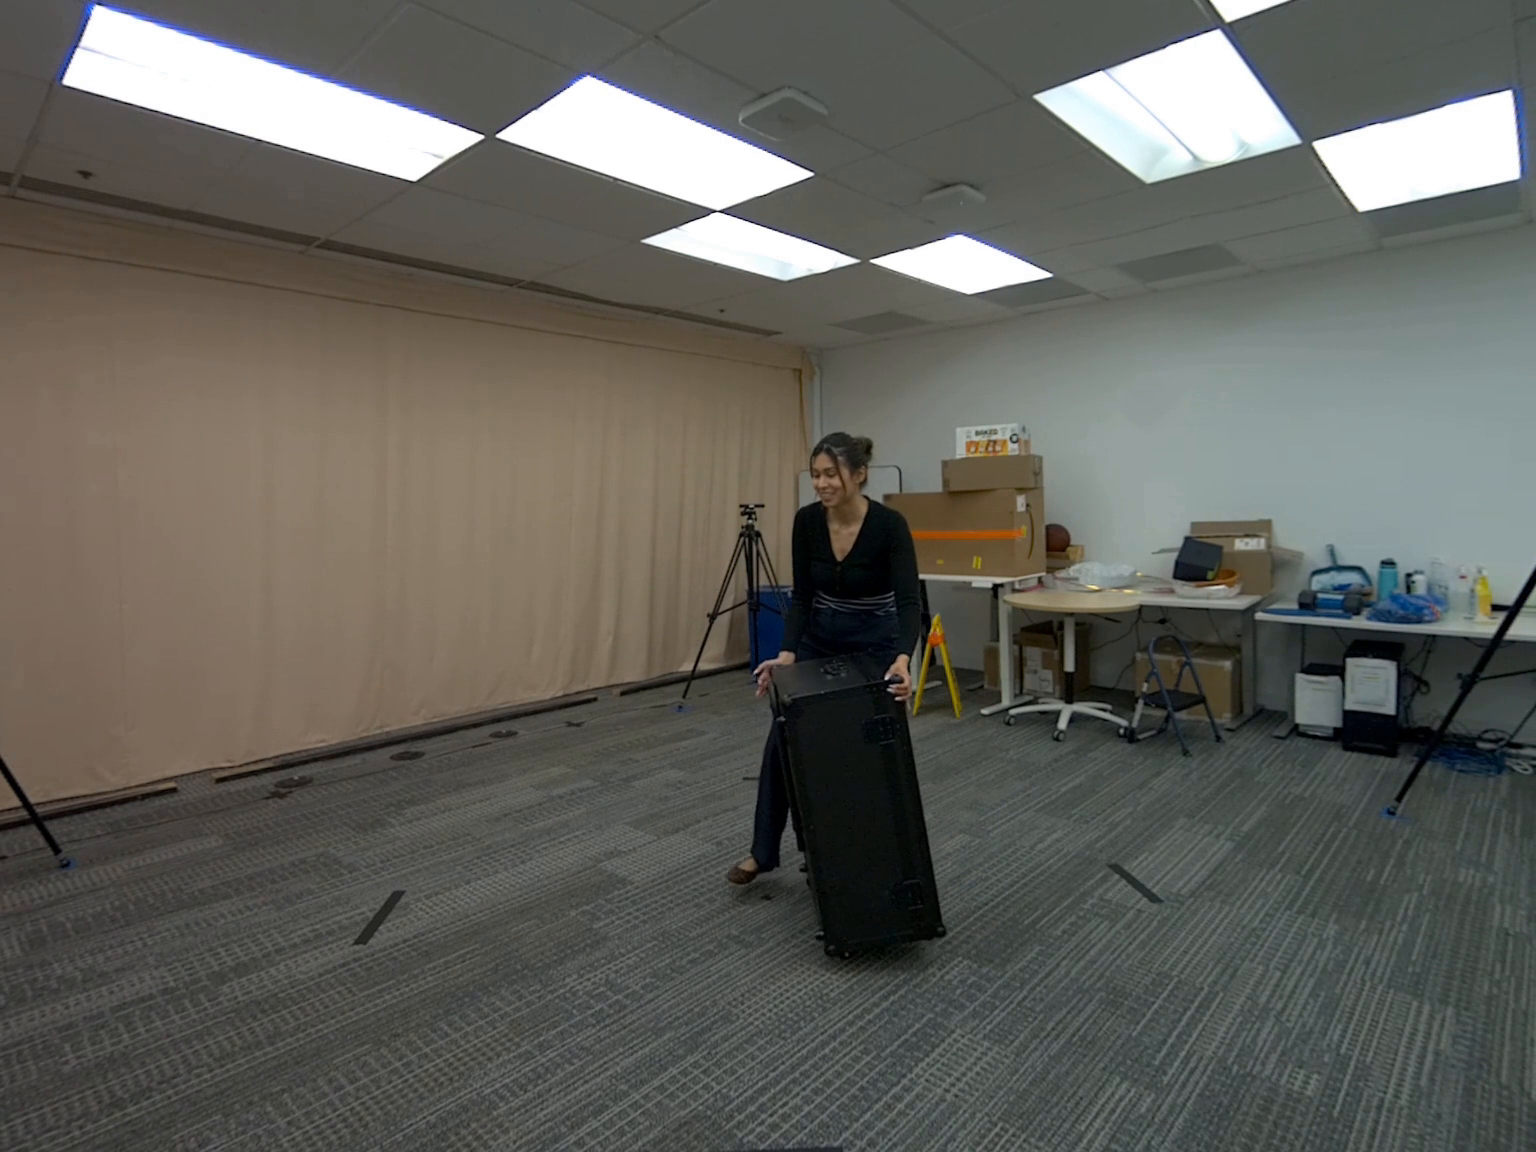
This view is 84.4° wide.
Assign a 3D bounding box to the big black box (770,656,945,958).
[{"bbox_3d":[0.264,0.722,2.686,0.396,0.859,0.523,-11,4,-2],"label":"big black box"}]
